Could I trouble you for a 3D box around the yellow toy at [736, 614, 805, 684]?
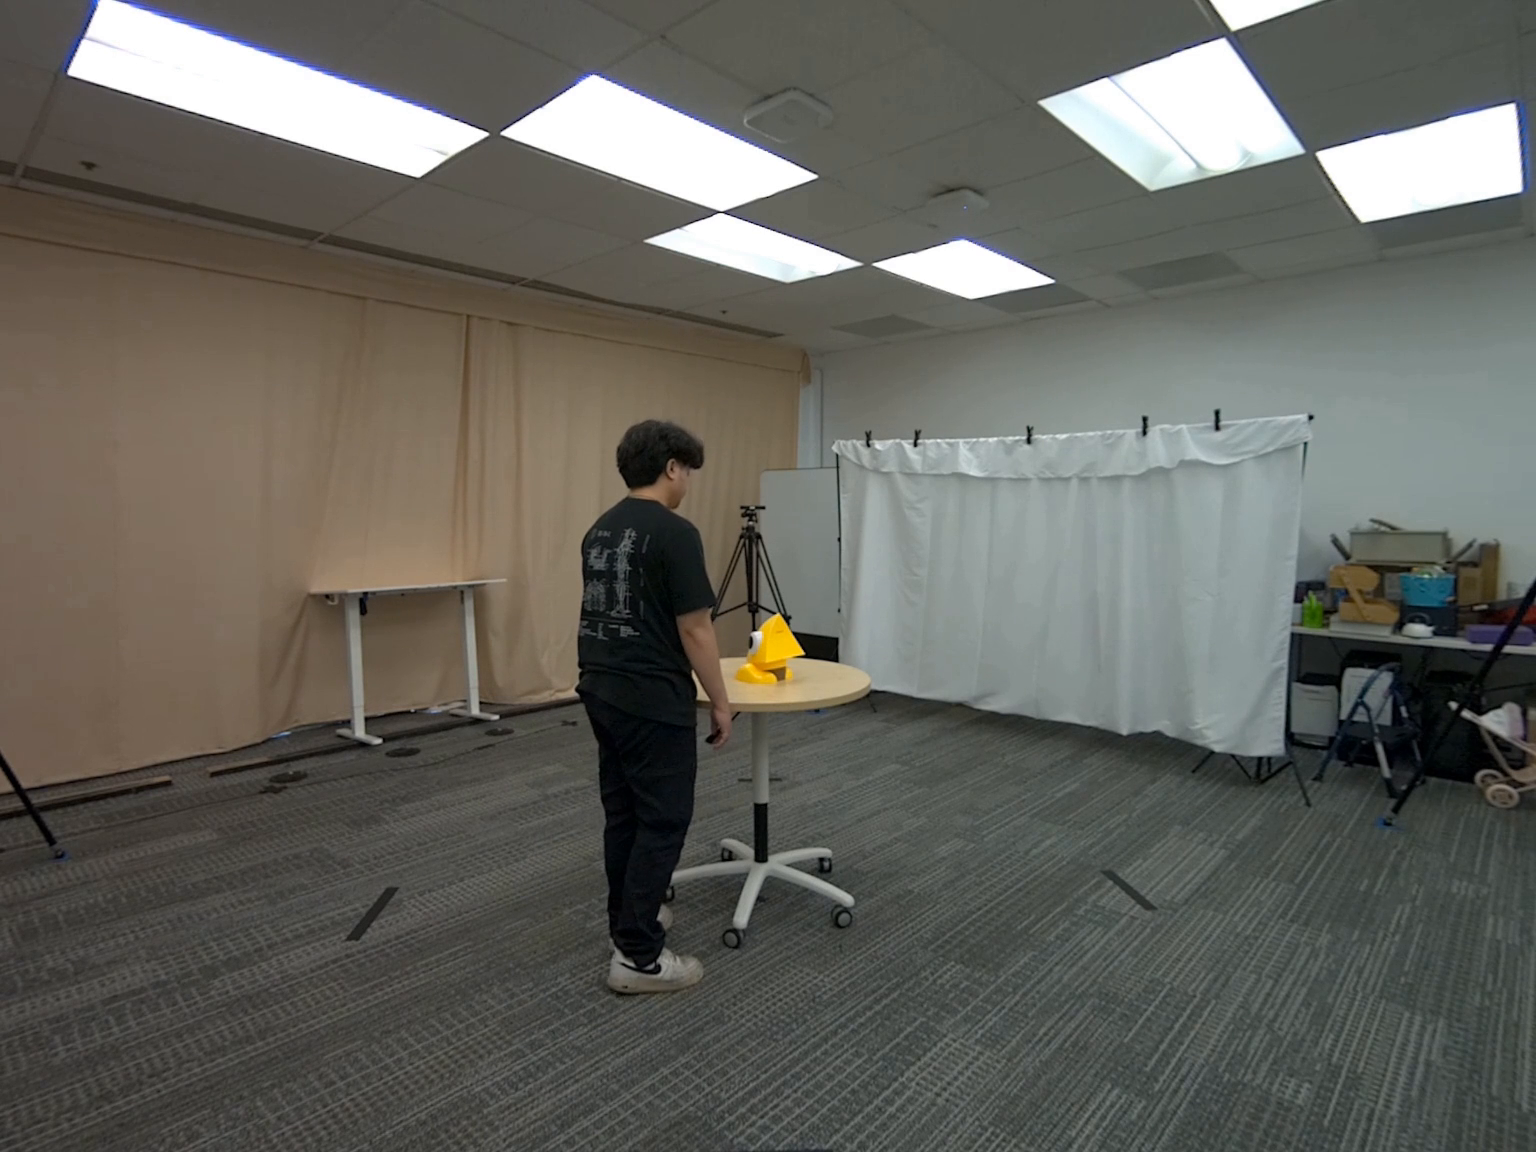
[{"bbox_3d":[-0.006,0.243,2.927,0.199,0.230,0.198,3,5,42],"label":"yellow toy"}]
